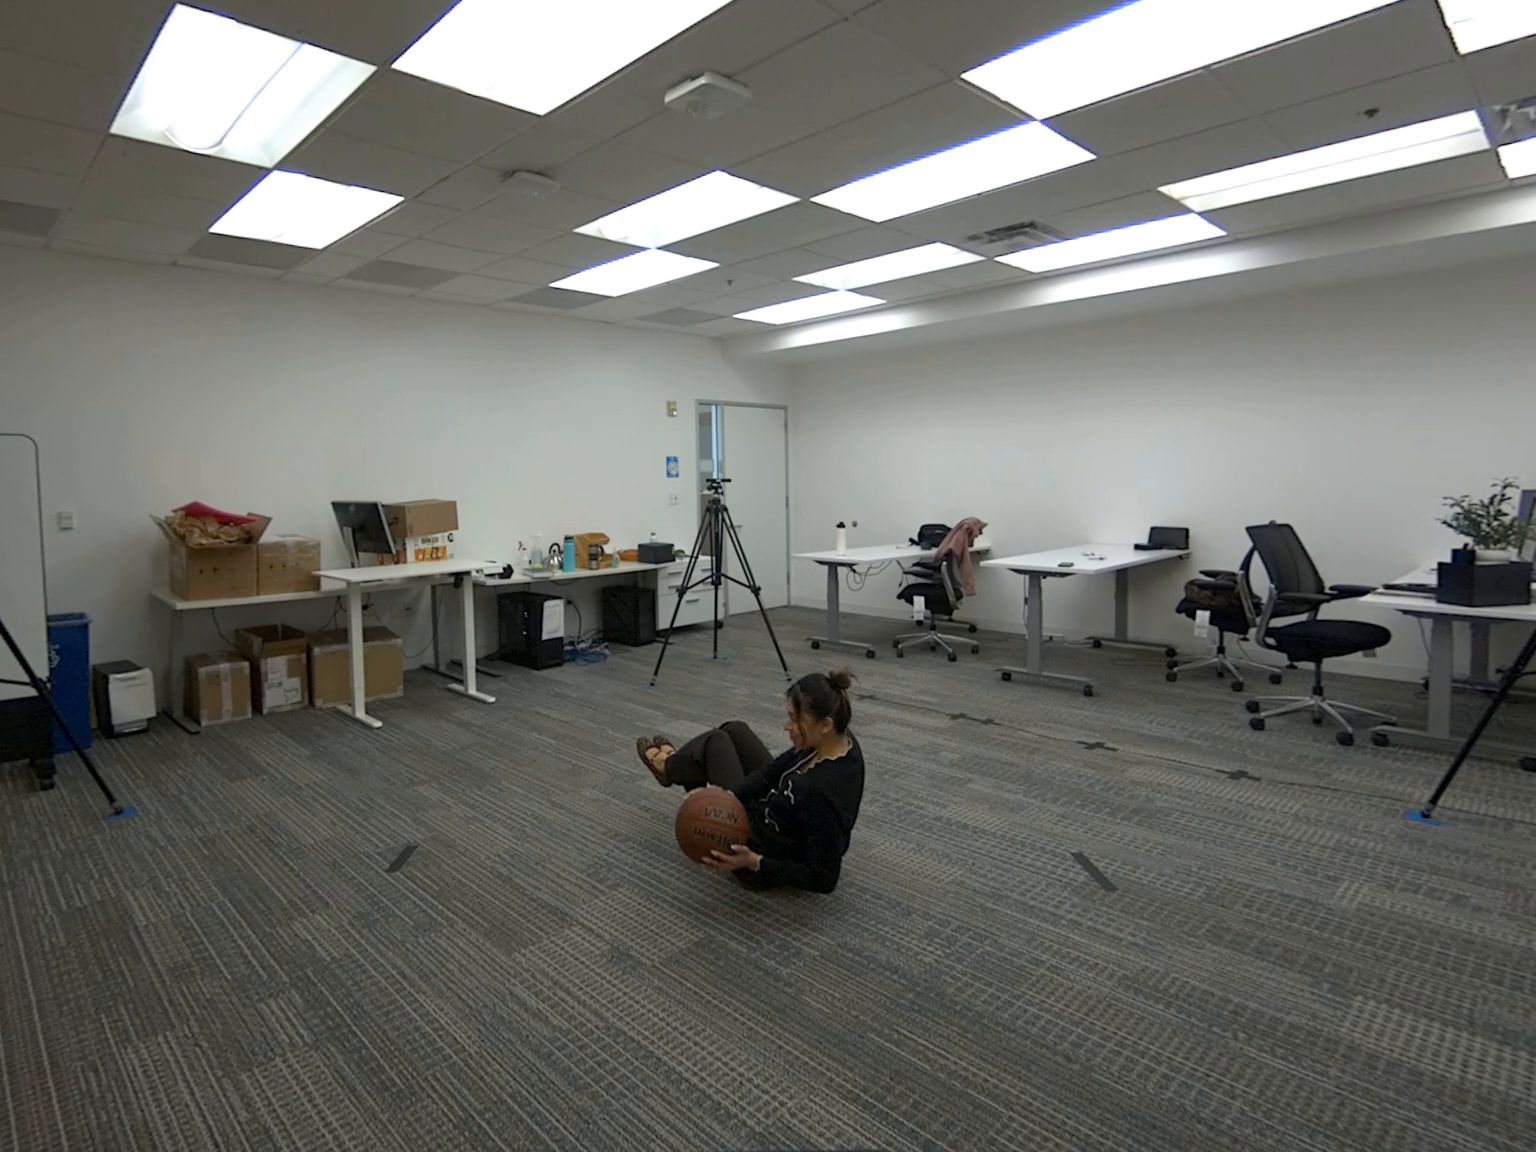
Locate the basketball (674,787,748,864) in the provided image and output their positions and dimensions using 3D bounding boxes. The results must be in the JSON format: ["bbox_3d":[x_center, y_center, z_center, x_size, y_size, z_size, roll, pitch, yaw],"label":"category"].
[{"bbox_3d":[-0.163,0.781,2.733,0.236,0.235,0.237,-1,5,-2],"label":"basketball"}]
